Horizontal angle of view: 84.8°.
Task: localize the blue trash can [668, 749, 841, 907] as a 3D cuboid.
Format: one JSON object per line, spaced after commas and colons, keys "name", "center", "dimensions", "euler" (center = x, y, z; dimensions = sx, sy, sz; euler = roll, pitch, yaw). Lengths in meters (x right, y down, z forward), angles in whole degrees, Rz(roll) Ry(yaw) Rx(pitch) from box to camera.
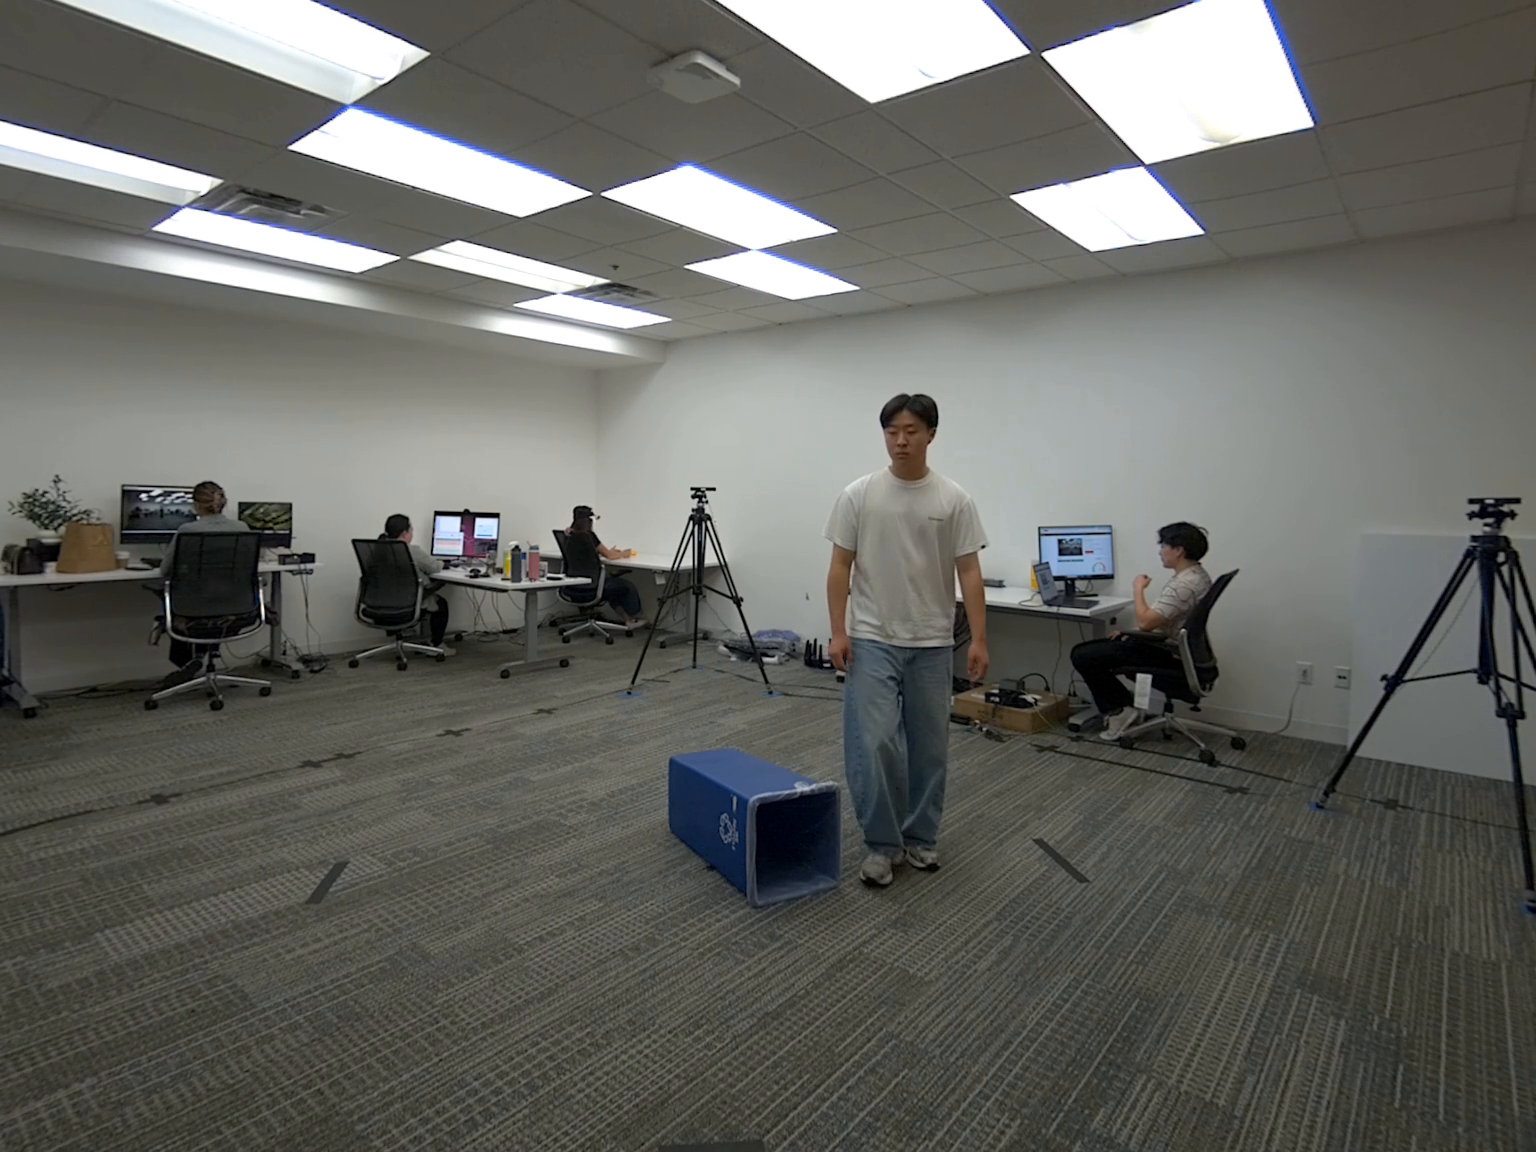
{"name": "blue trash can", "center": [-0.105, 0.897, 3.201], "dimensions": [0.364, 0.377, 0.734], "euler": [-2, 3, -32]}
